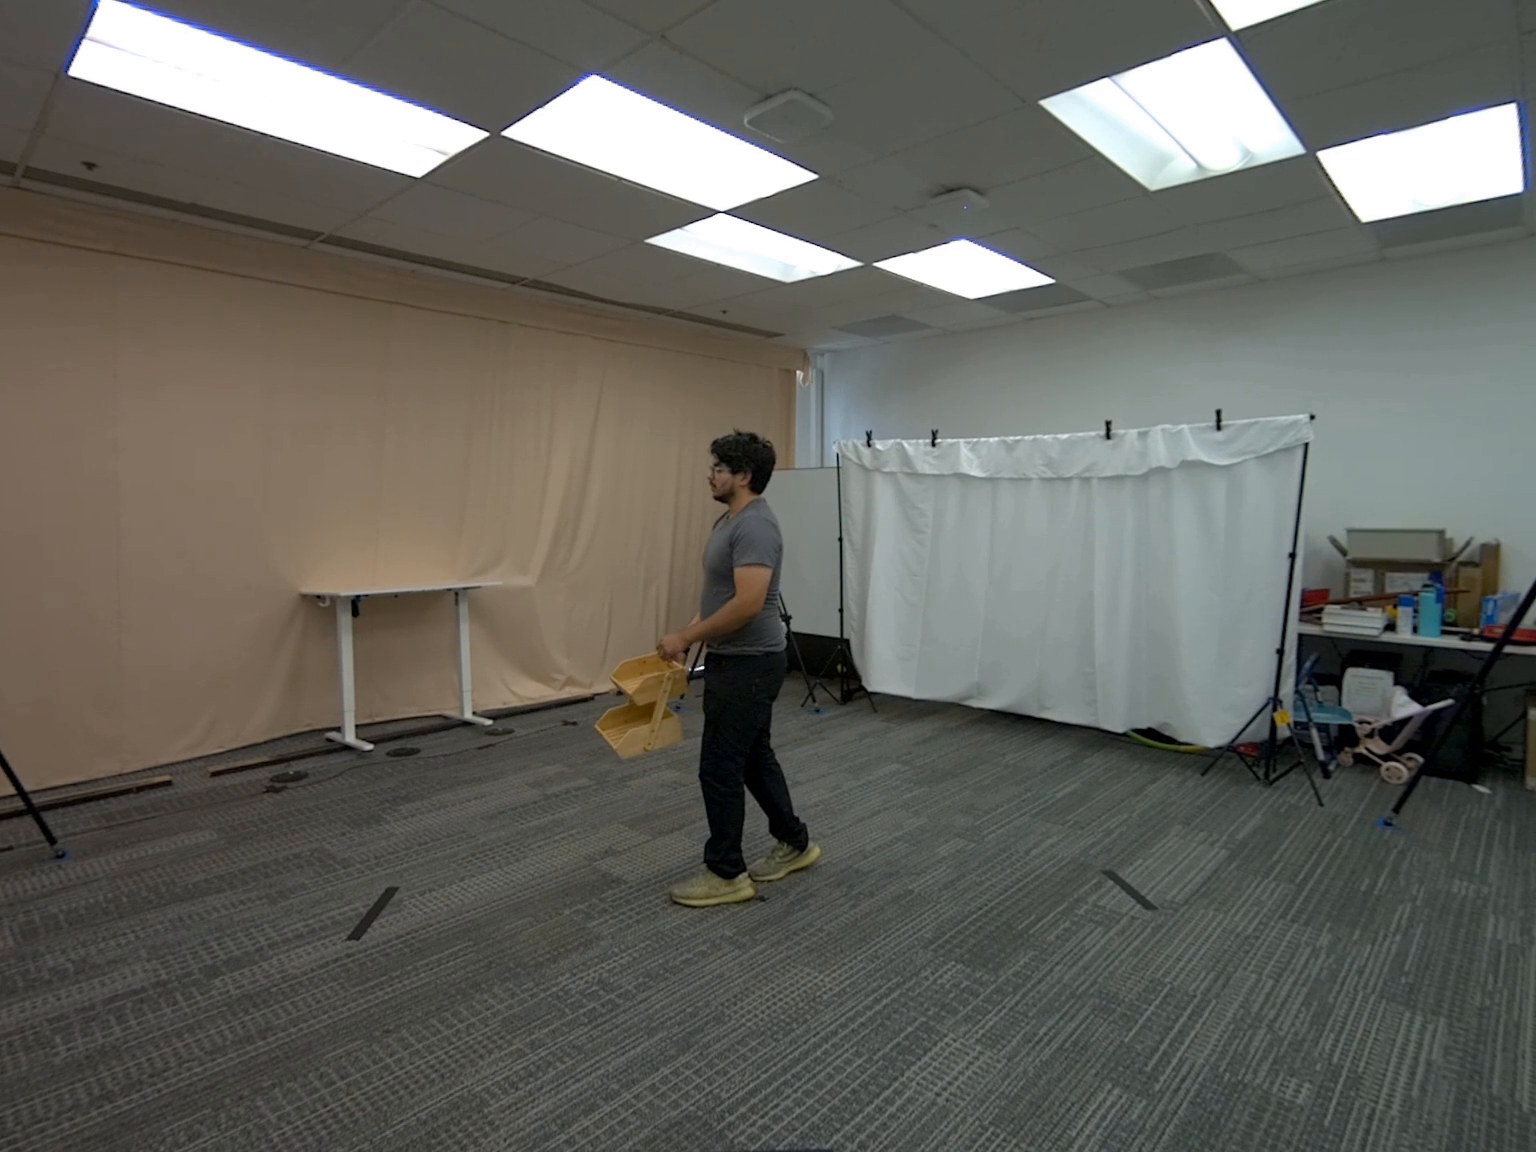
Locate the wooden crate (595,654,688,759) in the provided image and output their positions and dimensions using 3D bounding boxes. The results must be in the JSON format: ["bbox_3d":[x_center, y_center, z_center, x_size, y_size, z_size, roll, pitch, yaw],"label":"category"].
[{"bbox_3d":[-0.477,0.466,3.095,0.296,0.271,0.333,-13,10,-22],"label":"wooden crate"}]
